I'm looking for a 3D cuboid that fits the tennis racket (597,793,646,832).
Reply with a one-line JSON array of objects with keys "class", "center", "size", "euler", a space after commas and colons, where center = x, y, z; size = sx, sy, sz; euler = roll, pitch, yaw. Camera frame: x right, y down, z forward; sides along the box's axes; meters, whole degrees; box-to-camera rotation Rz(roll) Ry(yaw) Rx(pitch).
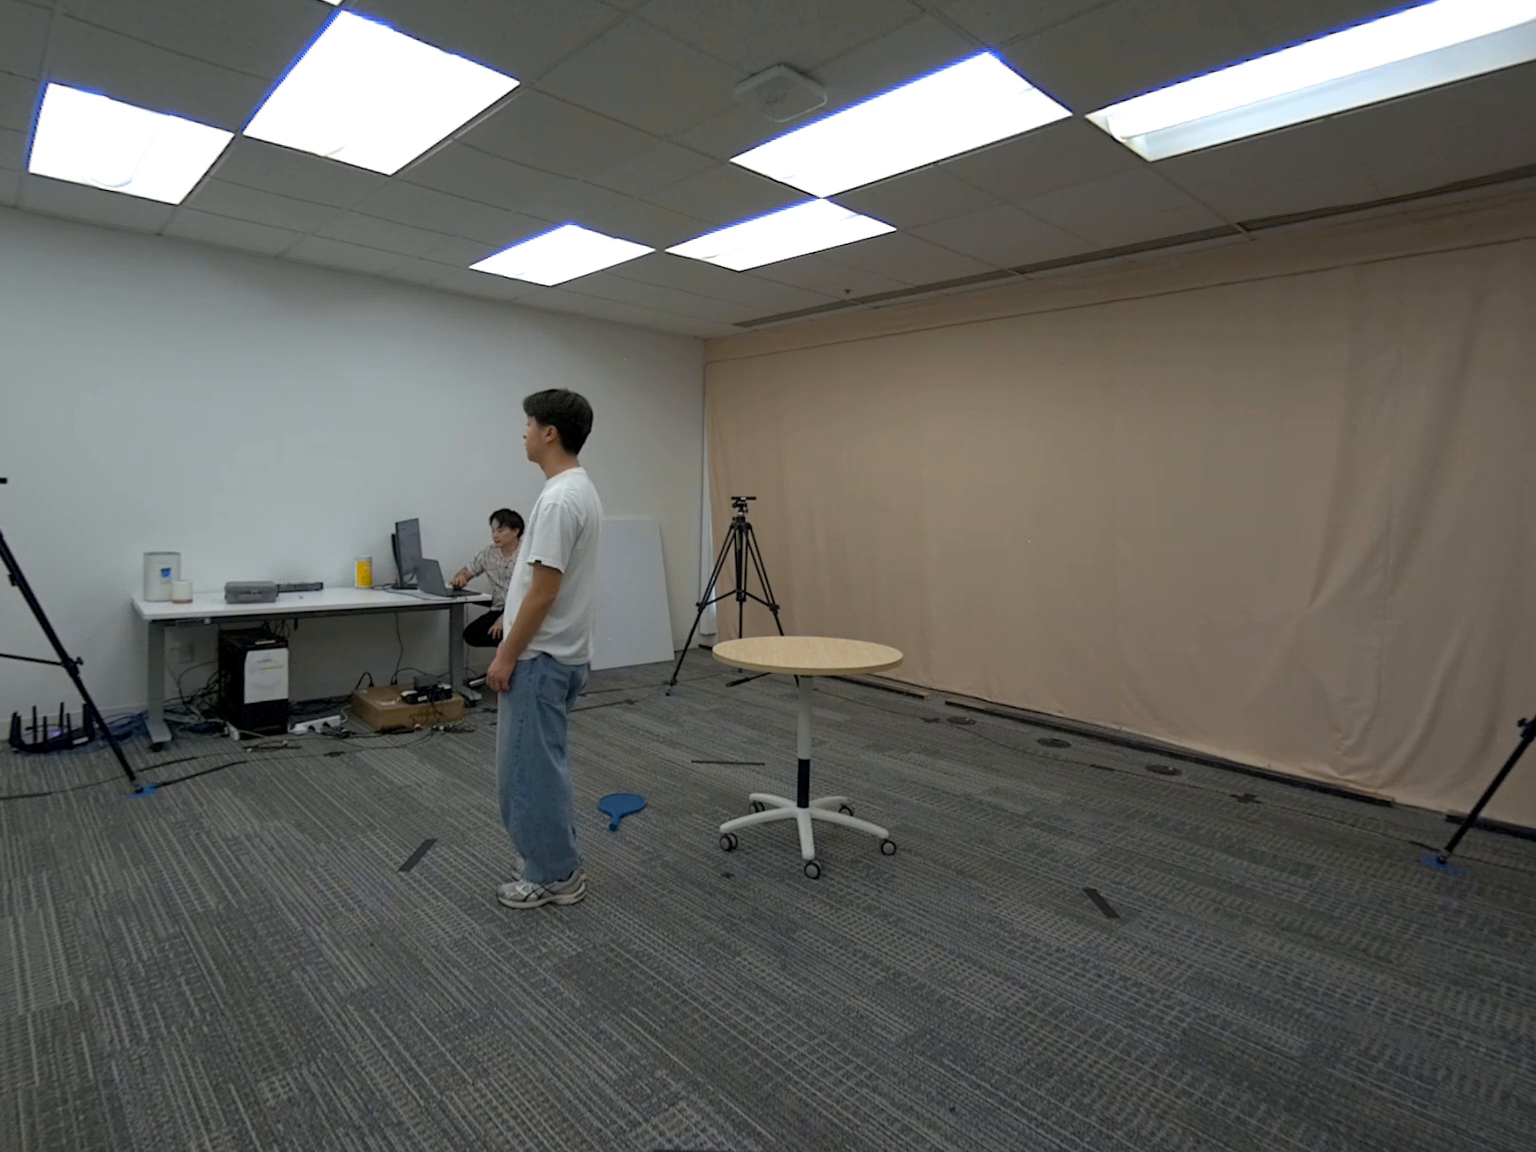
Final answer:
[{"class": "tennis racket", "center": [-0.663, 1.027, 3.704], "size": [0.214, 0.032, 0.433], "euler": [2, 4, 0]}]
